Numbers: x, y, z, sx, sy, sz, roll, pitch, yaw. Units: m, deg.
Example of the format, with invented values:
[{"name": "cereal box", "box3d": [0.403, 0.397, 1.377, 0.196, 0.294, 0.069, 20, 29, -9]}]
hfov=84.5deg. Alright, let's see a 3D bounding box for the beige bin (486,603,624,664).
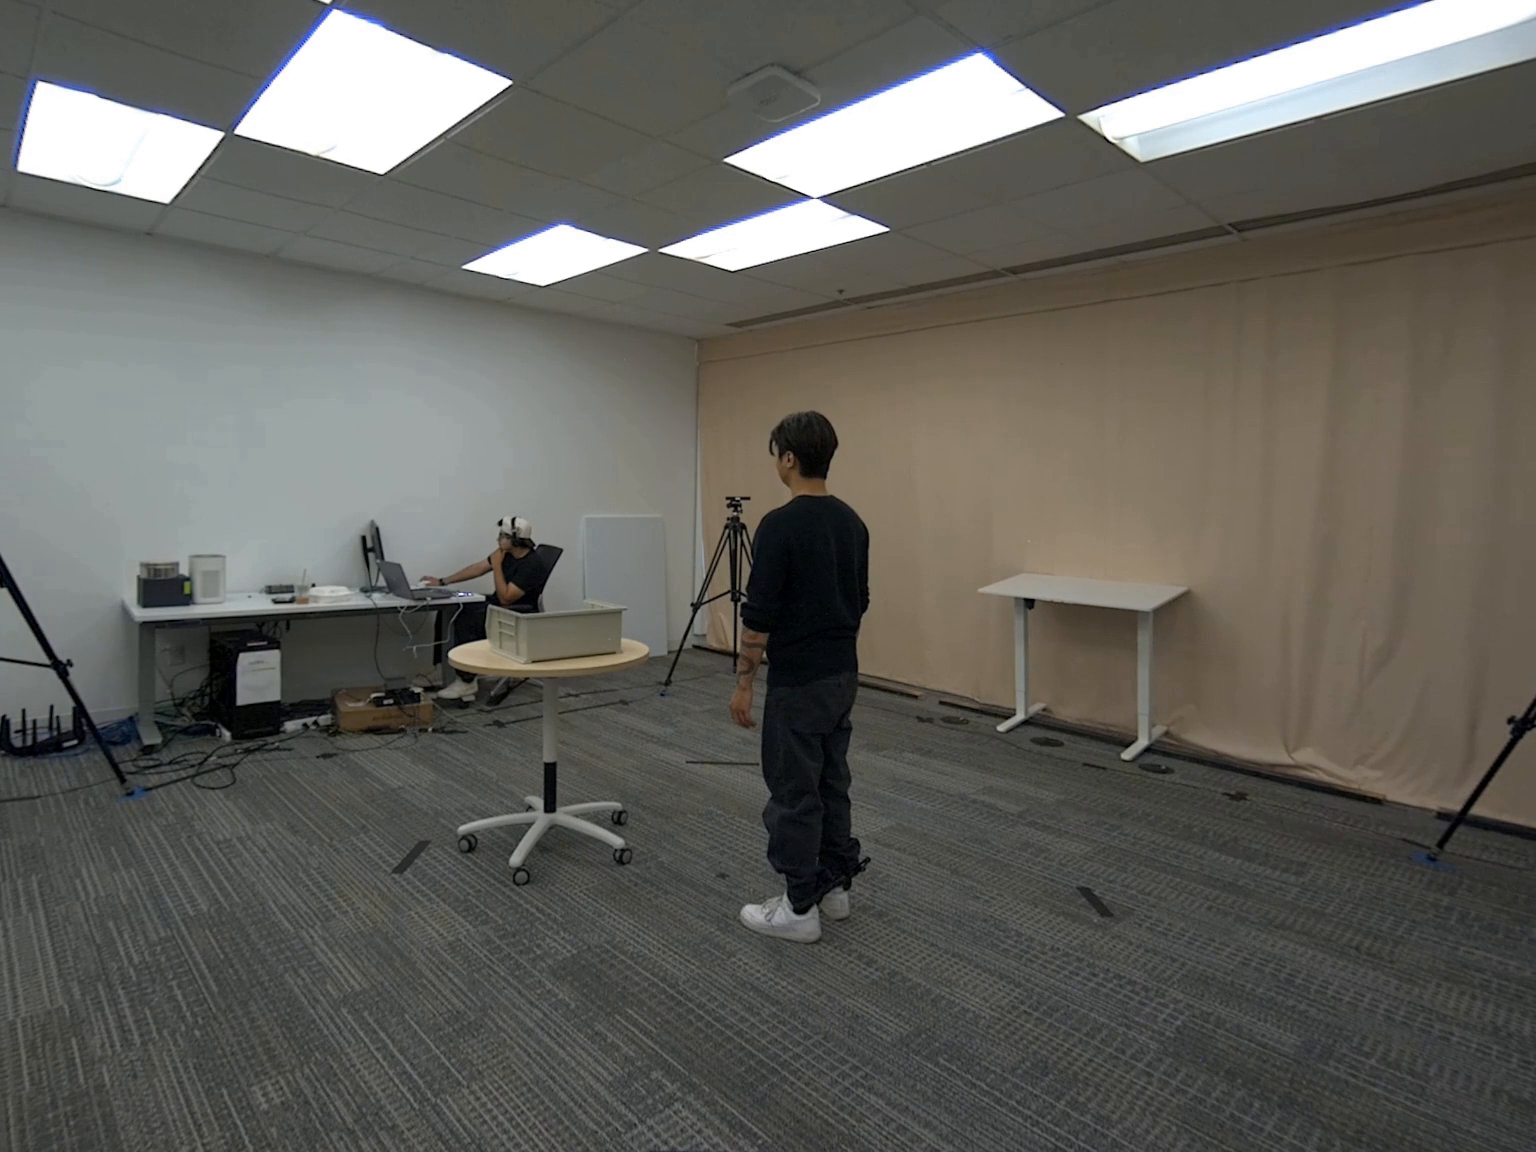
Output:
[{"name": "beige bin", "box3d": [-0.824, 0.201, 3.261, 0.413, 0.188, 0.387, -3, 8, -38]}]
